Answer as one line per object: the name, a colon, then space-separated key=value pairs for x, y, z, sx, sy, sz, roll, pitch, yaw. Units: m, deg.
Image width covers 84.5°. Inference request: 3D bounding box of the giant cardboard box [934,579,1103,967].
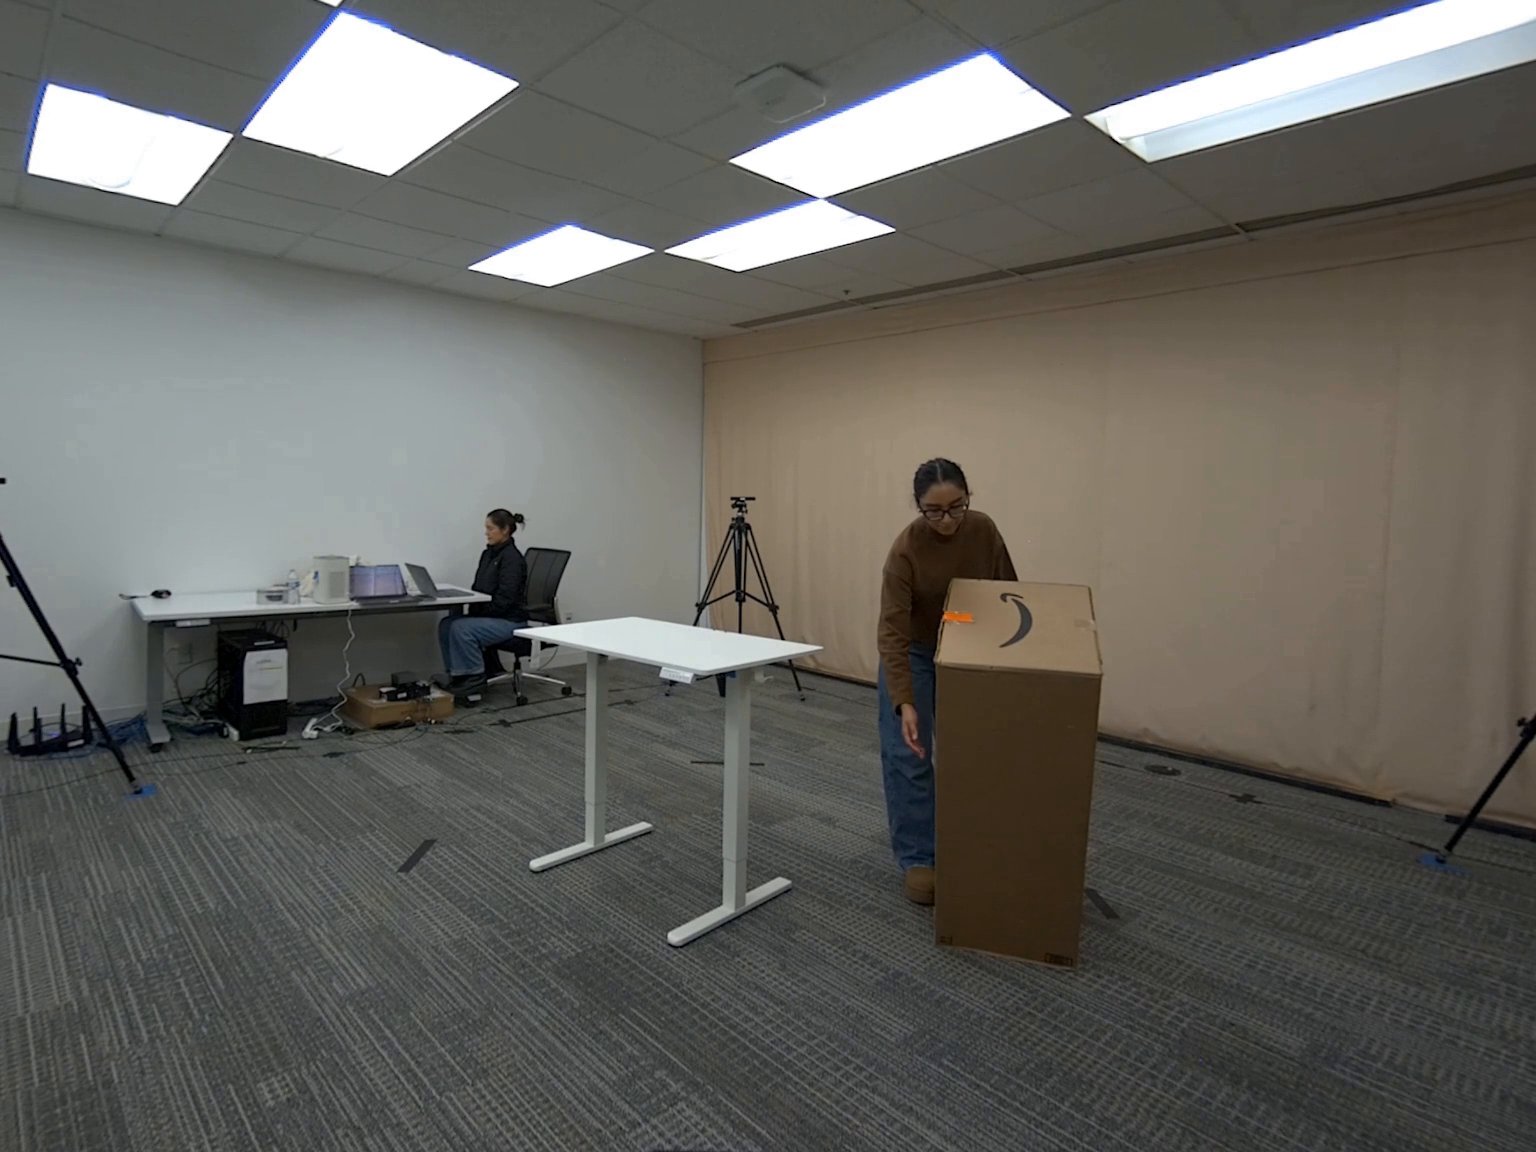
giant cardboard box: x=0.769 y=0.597 z=2.655 sx=0.432 sy=1.010 sz=0.579 roll=1 pitch=22 yaw=15
